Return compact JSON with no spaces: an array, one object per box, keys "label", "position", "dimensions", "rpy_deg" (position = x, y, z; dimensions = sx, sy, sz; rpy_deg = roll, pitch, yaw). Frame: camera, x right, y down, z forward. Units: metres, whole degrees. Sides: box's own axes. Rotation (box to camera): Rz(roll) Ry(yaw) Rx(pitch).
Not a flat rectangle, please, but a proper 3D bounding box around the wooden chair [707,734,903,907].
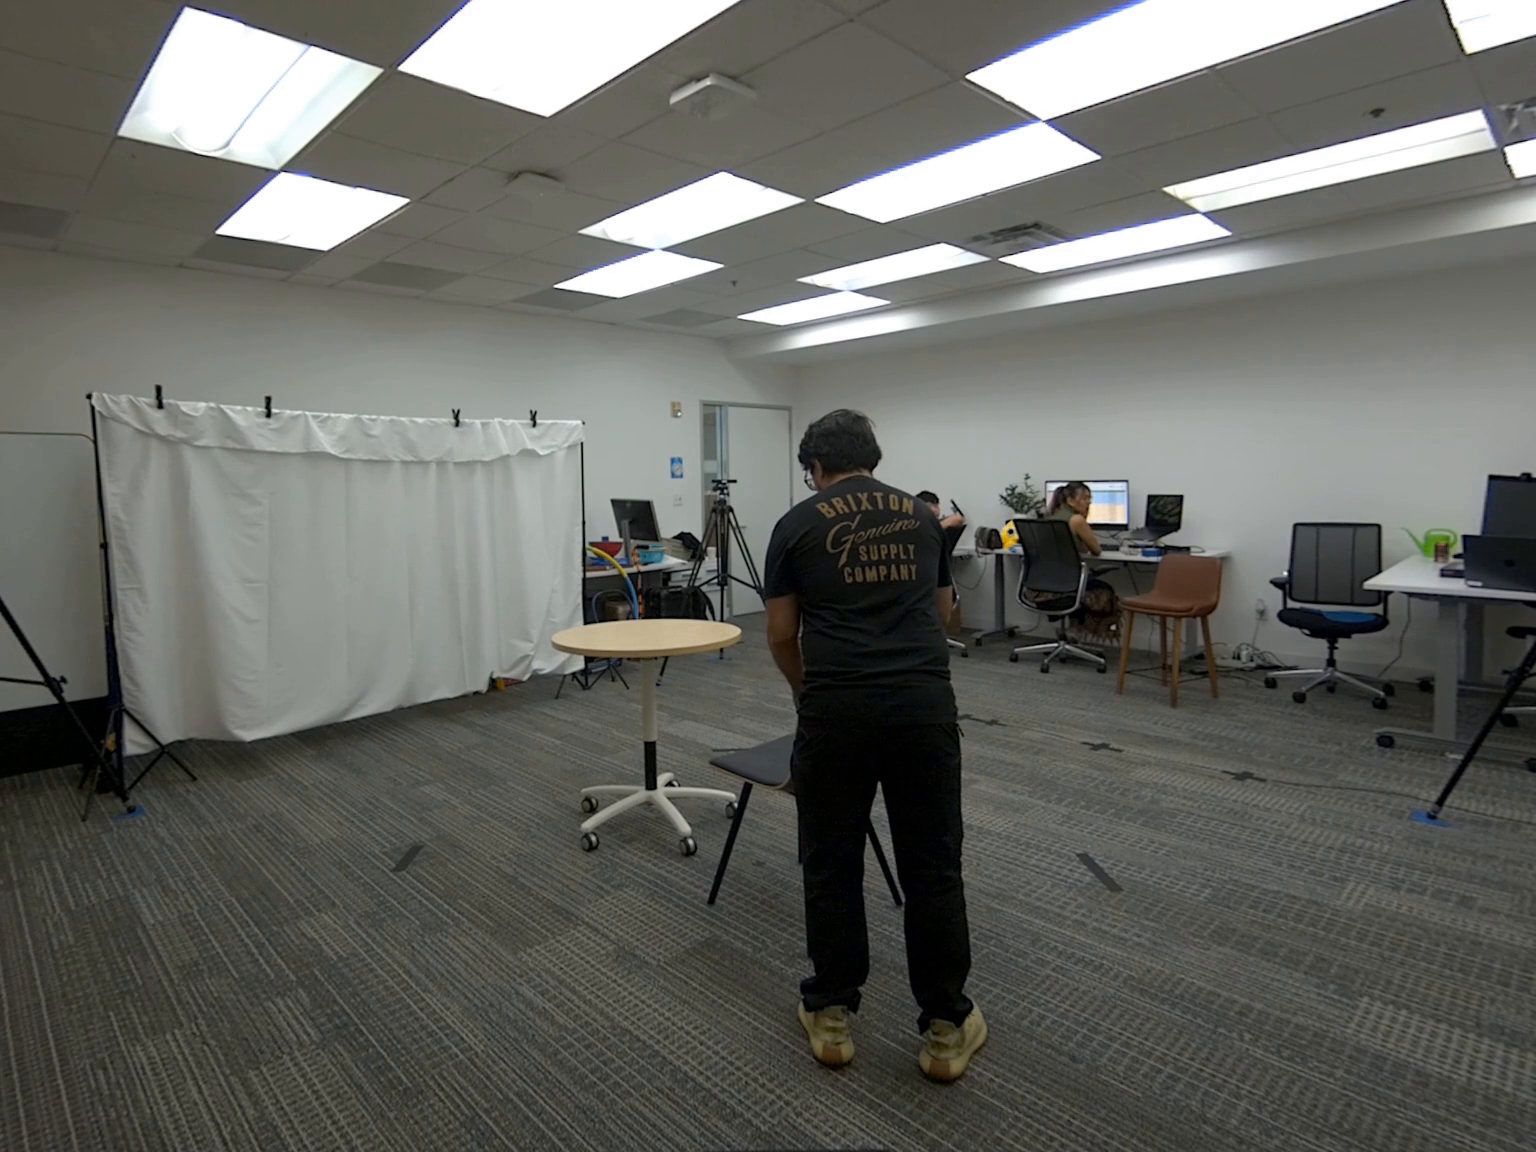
[{"label":"wooden chair","position":[0.110,0.656,2.779],"dimensions":[0.465,0.872,0.541],"rpy_deg":[-5,11,-44]}]
